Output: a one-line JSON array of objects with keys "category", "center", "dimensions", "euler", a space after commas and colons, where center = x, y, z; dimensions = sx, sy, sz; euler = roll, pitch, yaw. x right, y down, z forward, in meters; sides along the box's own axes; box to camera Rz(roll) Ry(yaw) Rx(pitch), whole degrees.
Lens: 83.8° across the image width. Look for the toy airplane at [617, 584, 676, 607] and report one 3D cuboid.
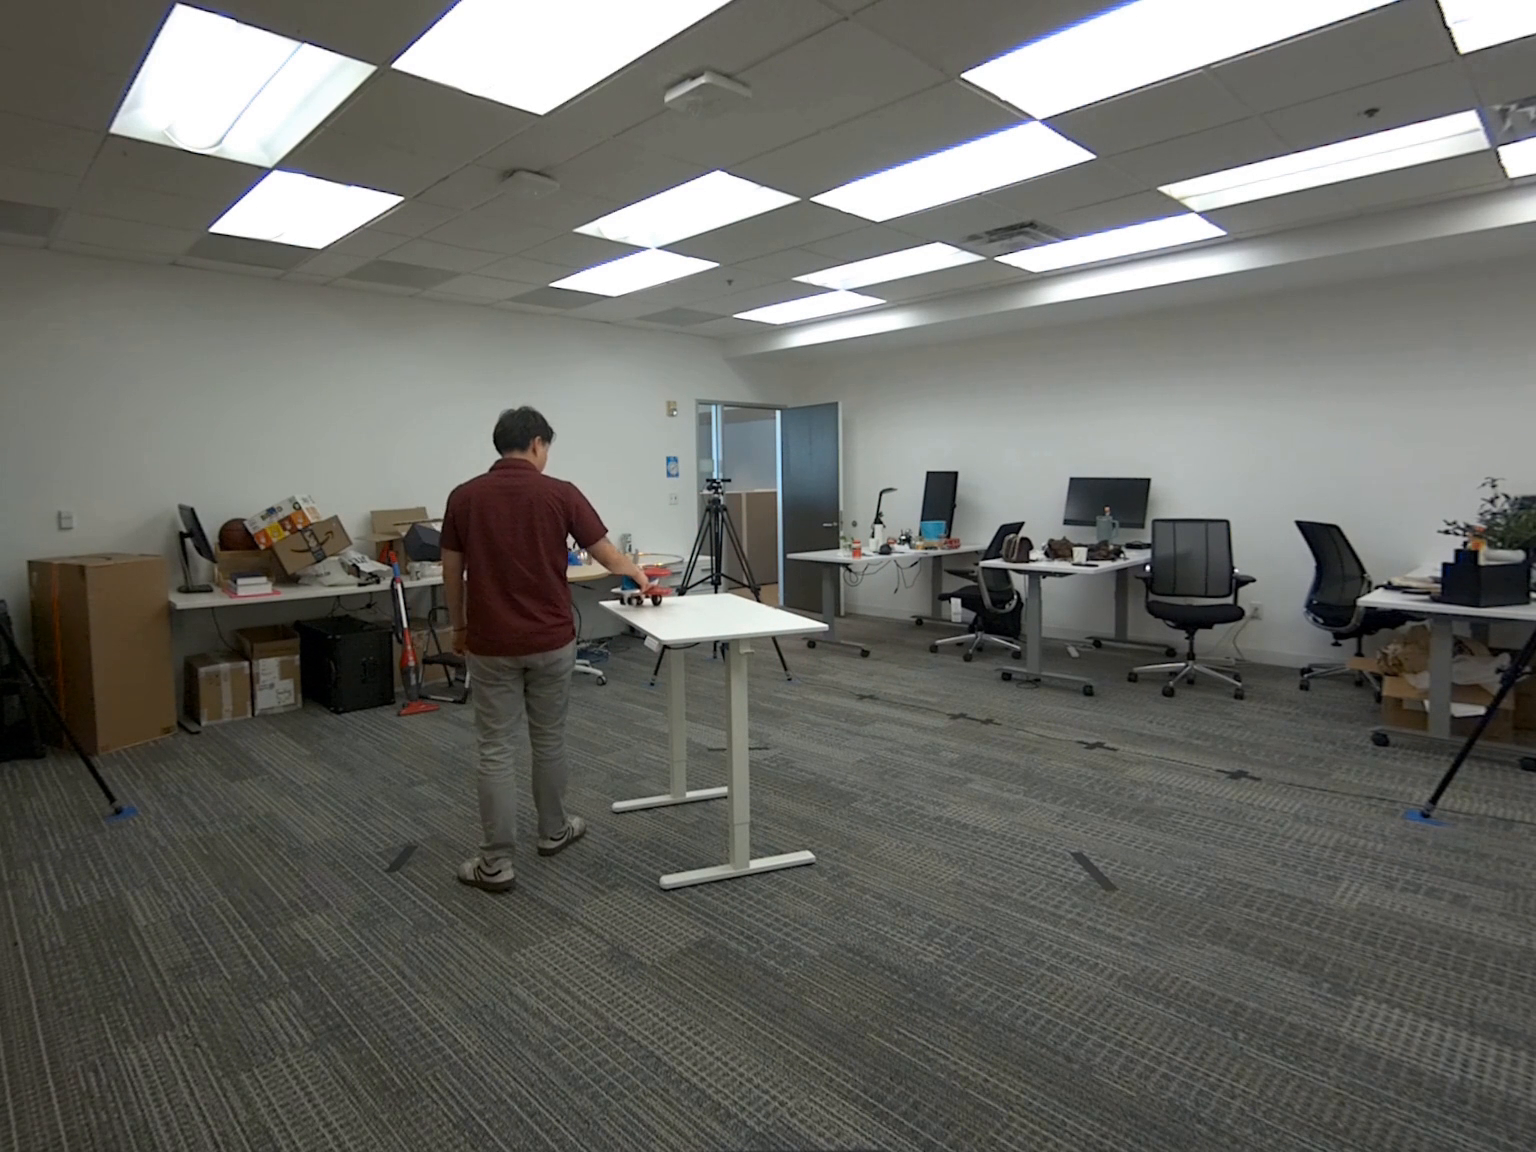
[{"category": "toy airplane", "center": [-0.509, 0.045, 3.482], "dimensions": [0.248, 0.157, 0.261], "euler": [1, -2, -11]}]
